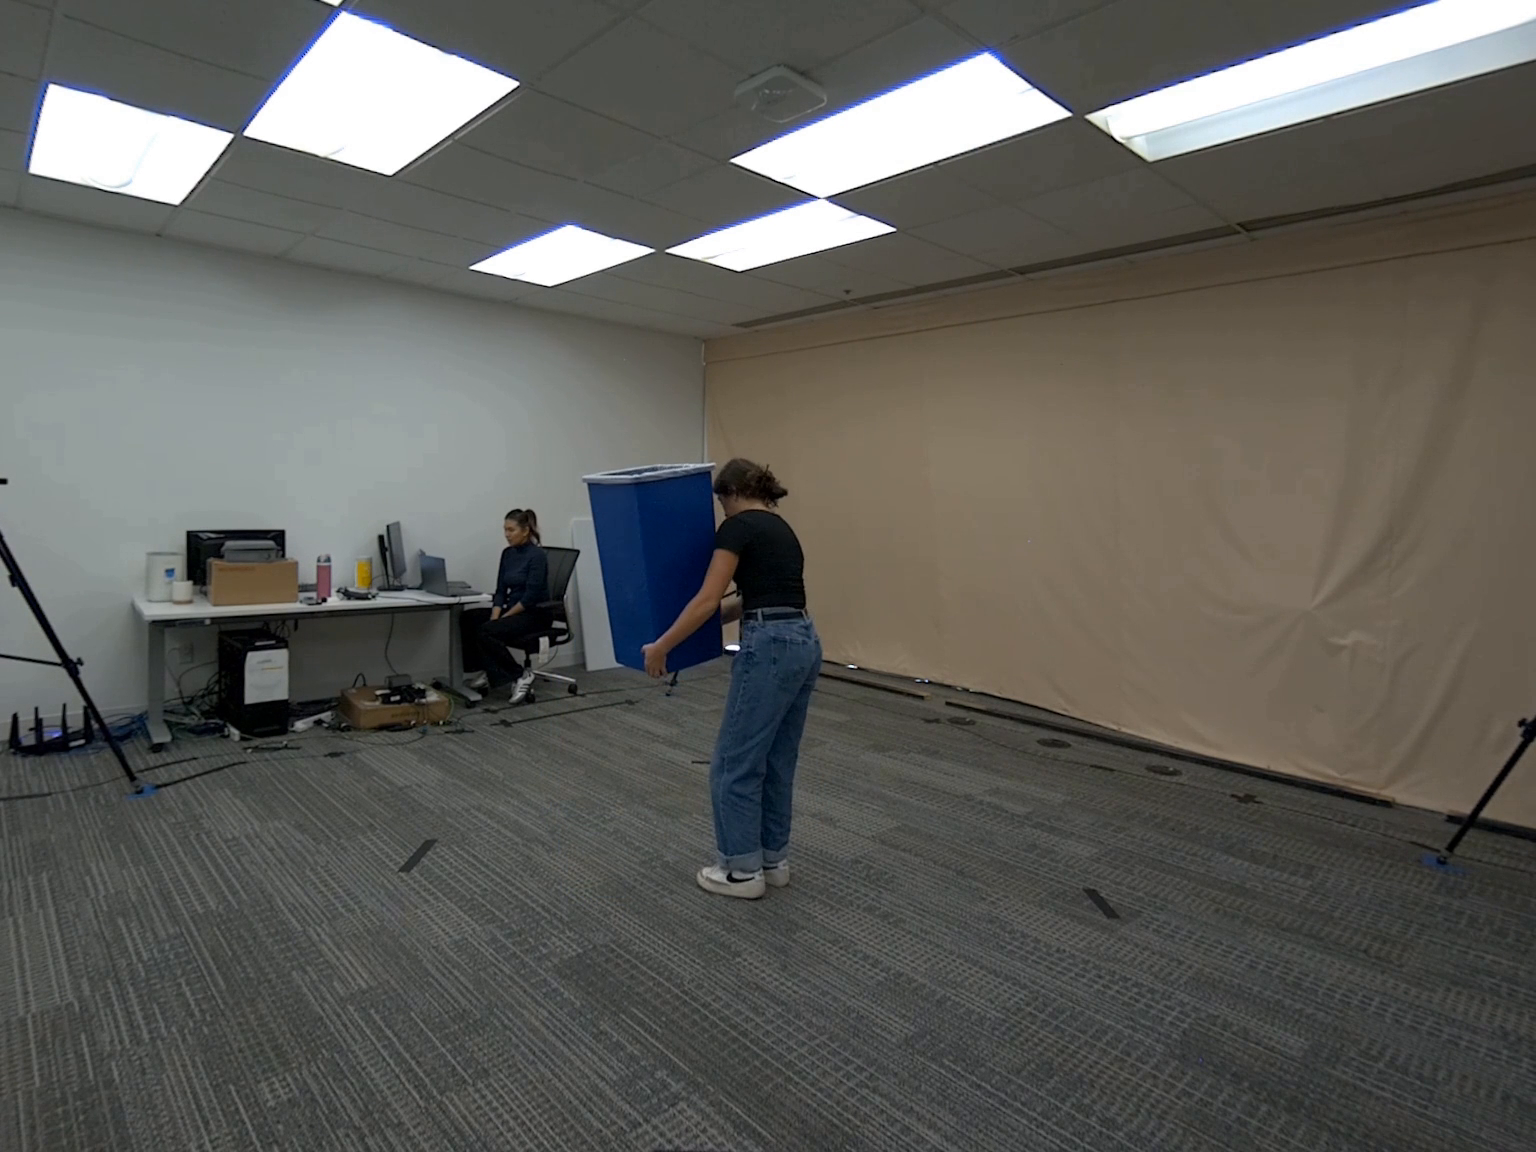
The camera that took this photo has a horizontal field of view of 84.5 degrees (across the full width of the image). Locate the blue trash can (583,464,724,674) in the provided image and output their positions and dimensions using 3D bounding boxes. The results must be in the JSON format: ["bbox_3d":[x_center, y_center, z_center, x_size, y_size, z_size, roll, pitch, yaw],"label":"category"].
[{"bbox_3d":[-0.416,-0.037,3.092,0.367,0.708,0.388,-13,12,-41],"label":"blue trash can"}]
